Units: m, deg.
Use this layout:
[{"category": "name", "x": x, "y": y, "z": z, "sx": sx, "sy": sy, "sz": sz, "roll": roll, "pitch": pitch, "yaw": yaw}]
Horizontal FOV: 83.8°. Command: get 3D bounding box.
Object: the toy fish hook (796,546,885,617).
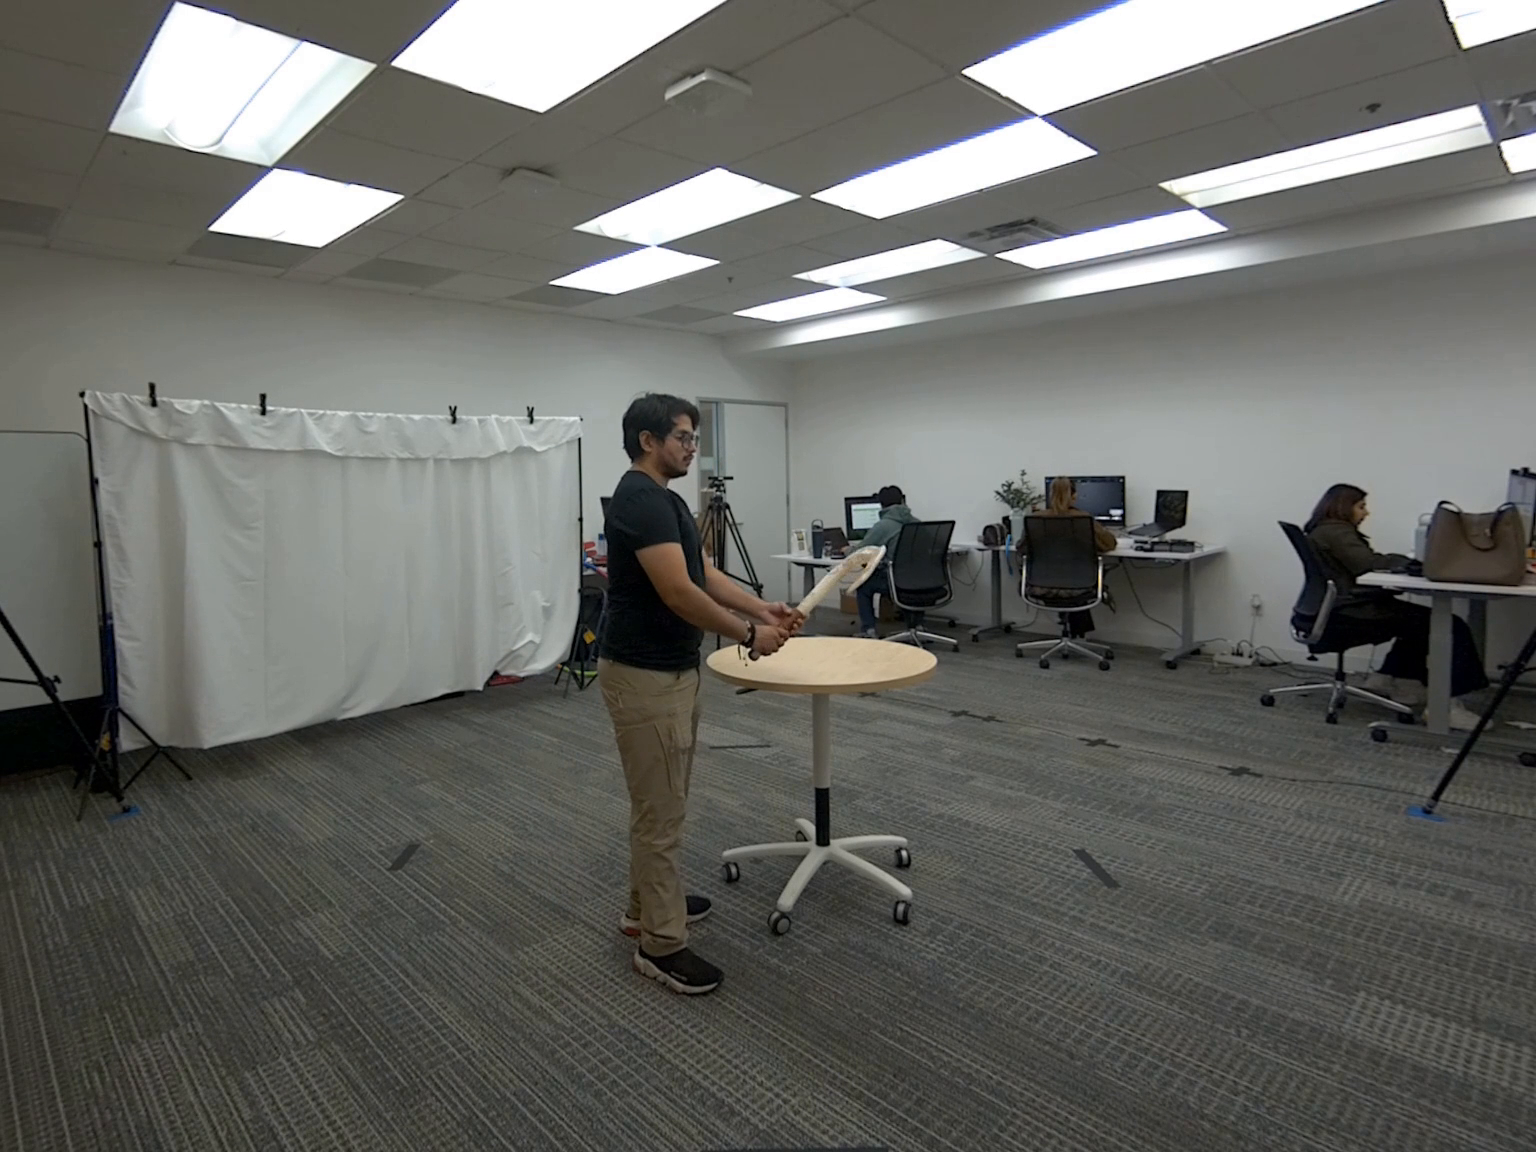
[{"category": "toy fish hook", "x": 0.151, "y": 0.079, "z": 2.458, "sx": 0.506, "sy": 0.048, "sz": 0.227, "roll": -42, "pitch": 9, "yaw": -13}]
